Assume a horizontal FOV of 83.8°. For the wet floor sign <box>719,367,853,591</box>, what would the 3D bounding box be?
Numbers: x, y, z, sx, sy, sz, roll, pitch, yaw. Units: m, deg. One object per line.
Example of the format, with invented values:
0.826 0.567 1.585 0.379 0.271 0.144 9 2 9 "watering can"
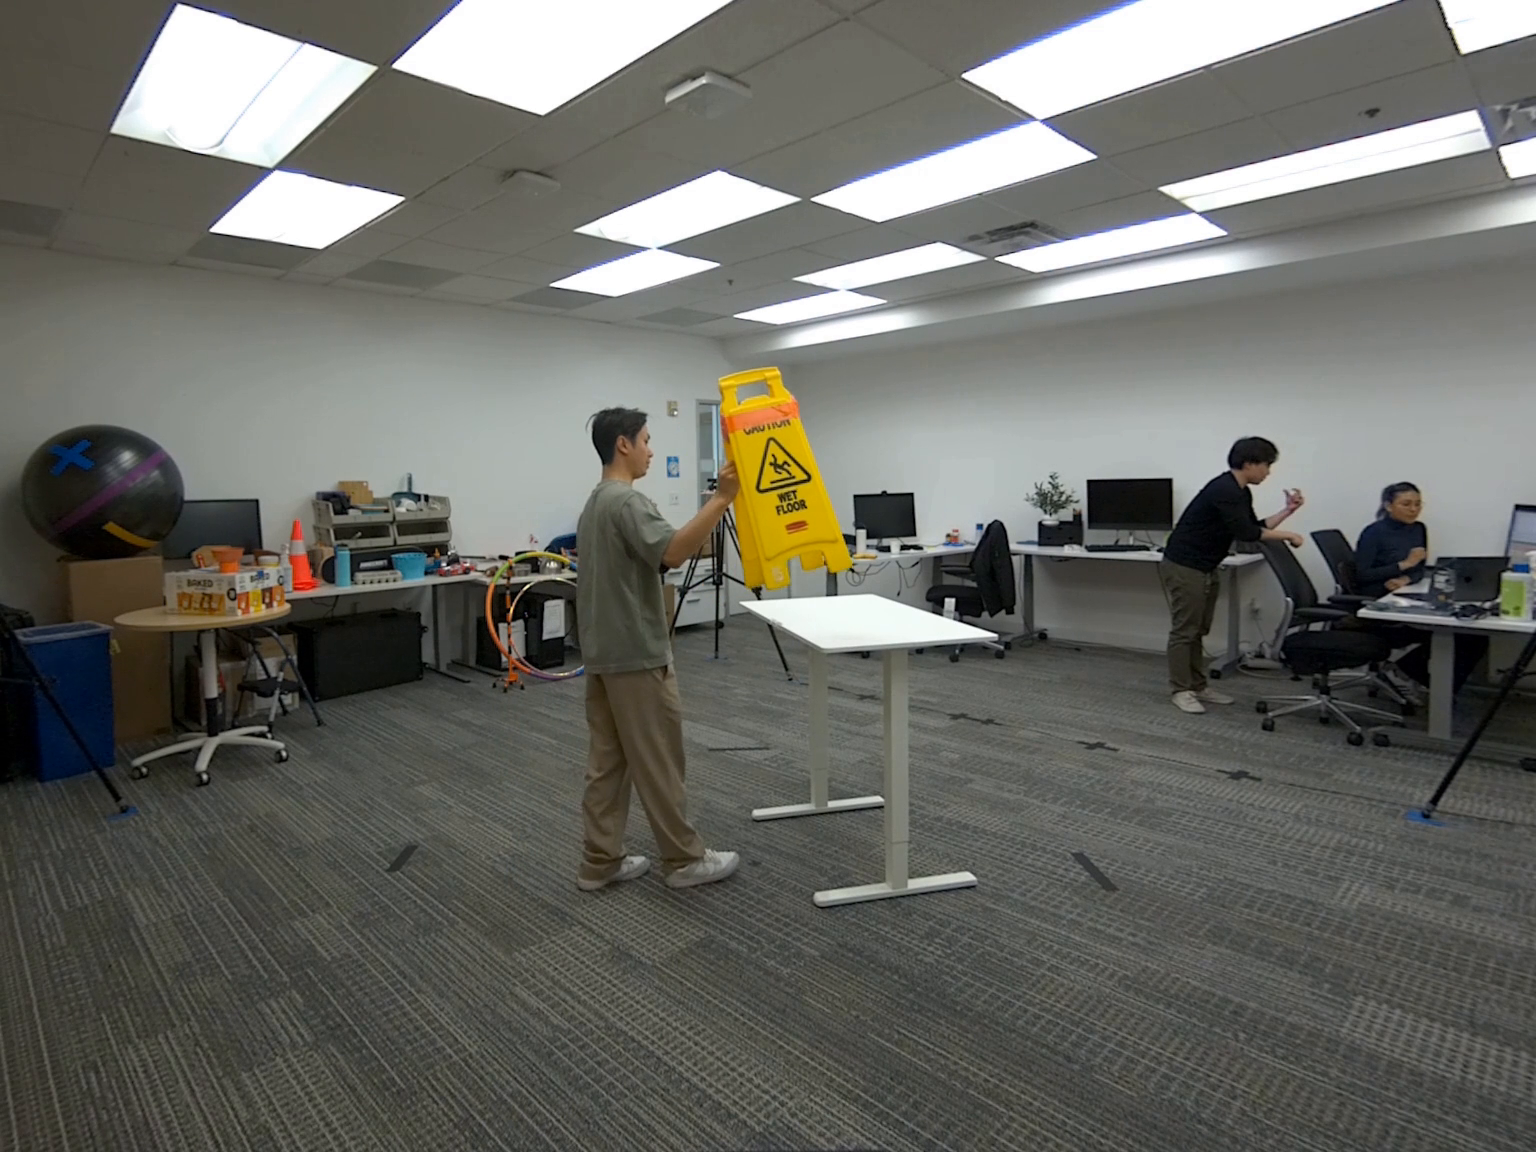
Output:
0.021 -0.309 2.612 0.279 0.645 0.293 -15 2 -16 "wet floor sign"
